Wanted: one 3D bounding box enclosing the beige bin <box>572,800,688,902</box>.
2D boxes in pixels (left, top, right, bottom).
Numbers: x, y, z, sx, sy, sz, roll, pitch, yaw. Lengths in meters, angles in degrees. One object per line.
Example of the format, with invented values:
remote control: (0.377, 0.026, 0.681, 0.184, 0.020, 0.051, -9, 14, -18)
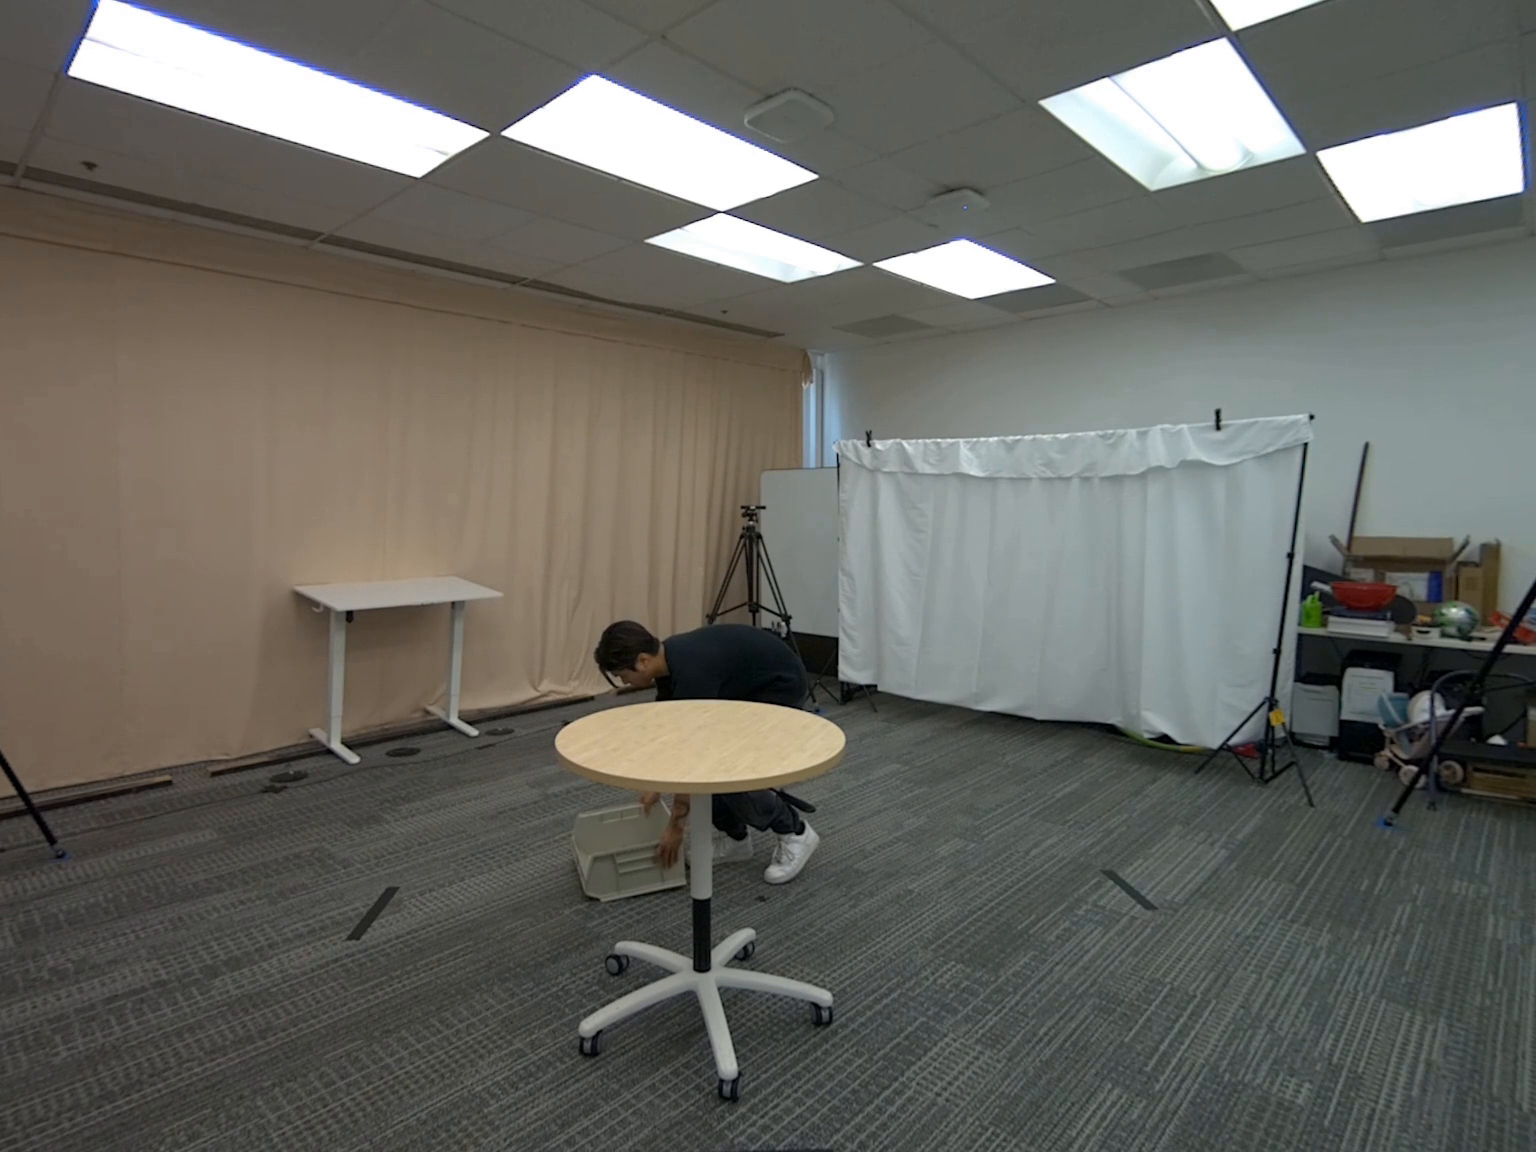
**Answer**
beige bin: (-0.533, 1.035, 3.193, 0.371, 0.188, 0.430, -6, 4, -18)
